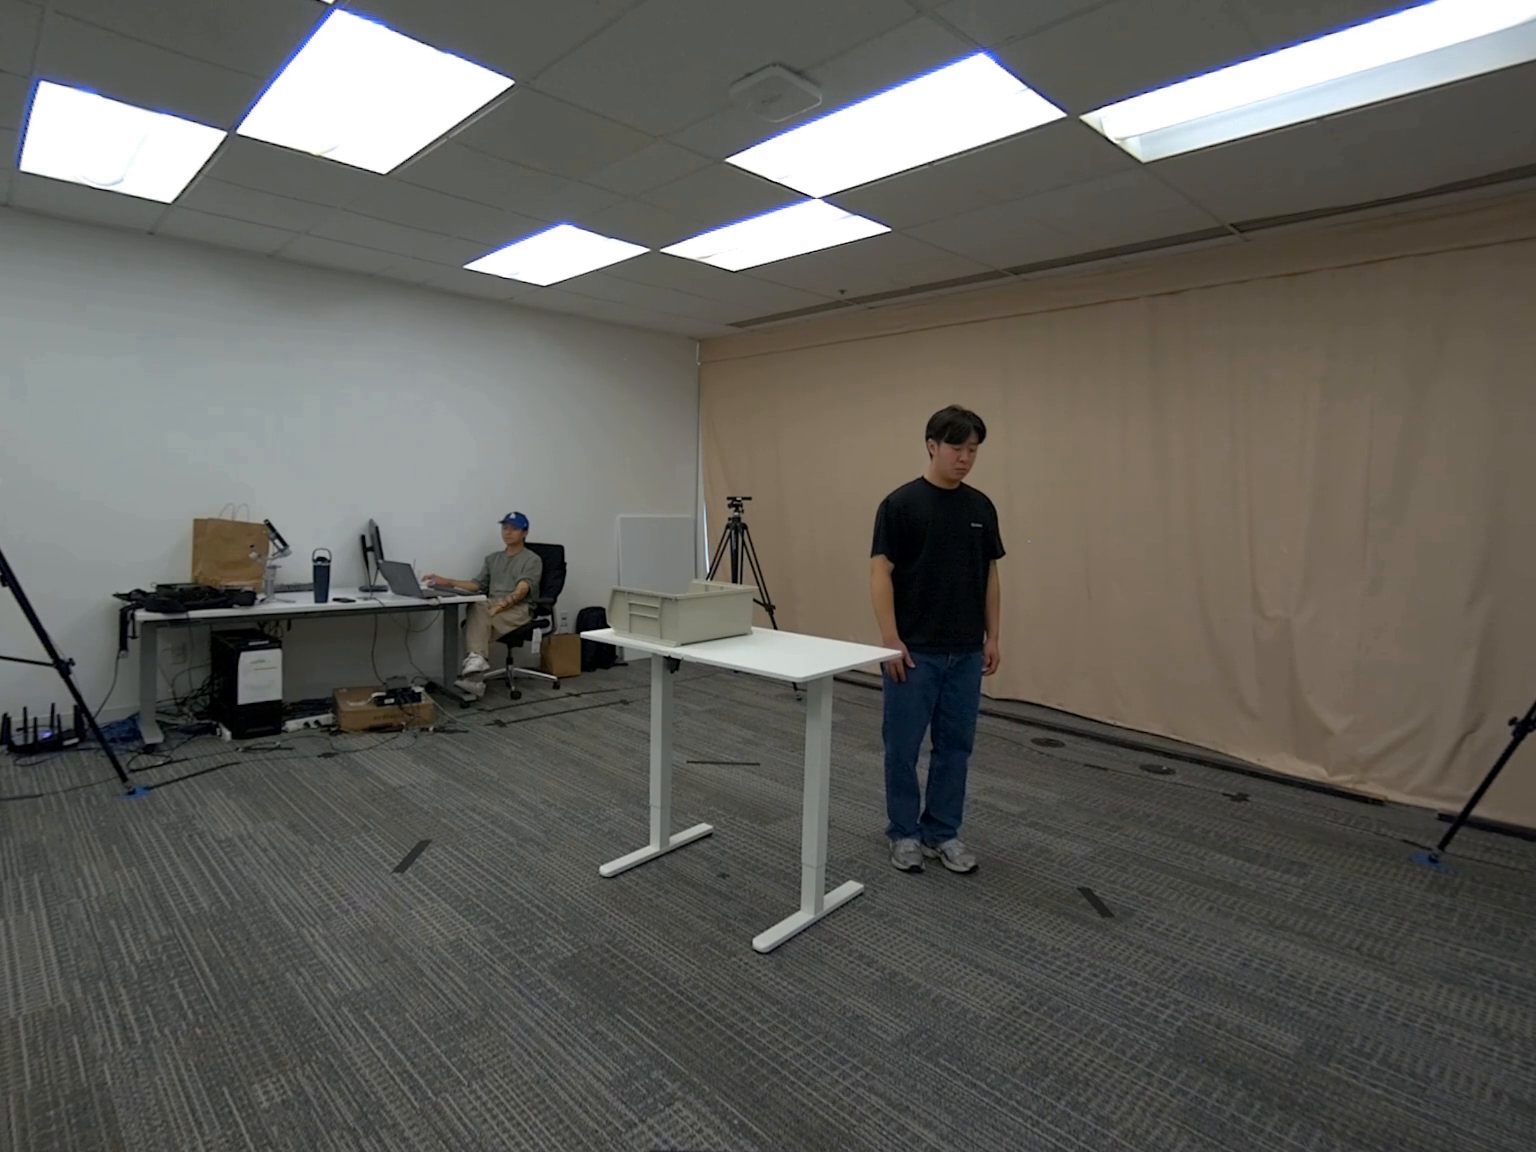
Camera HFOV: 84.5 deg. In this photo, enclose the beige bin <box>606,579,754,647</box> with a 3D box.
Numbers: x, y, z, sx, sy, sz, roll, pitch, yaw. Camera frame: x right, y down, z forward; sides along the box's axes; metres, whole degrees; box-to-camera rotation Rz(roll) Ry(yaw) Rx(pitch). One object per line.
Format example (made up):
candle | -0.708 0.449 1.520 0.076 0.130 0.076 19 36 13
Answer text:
beige bin | -0.322 0.131 3.107 0.387 0.188 0.413 8 8 41
